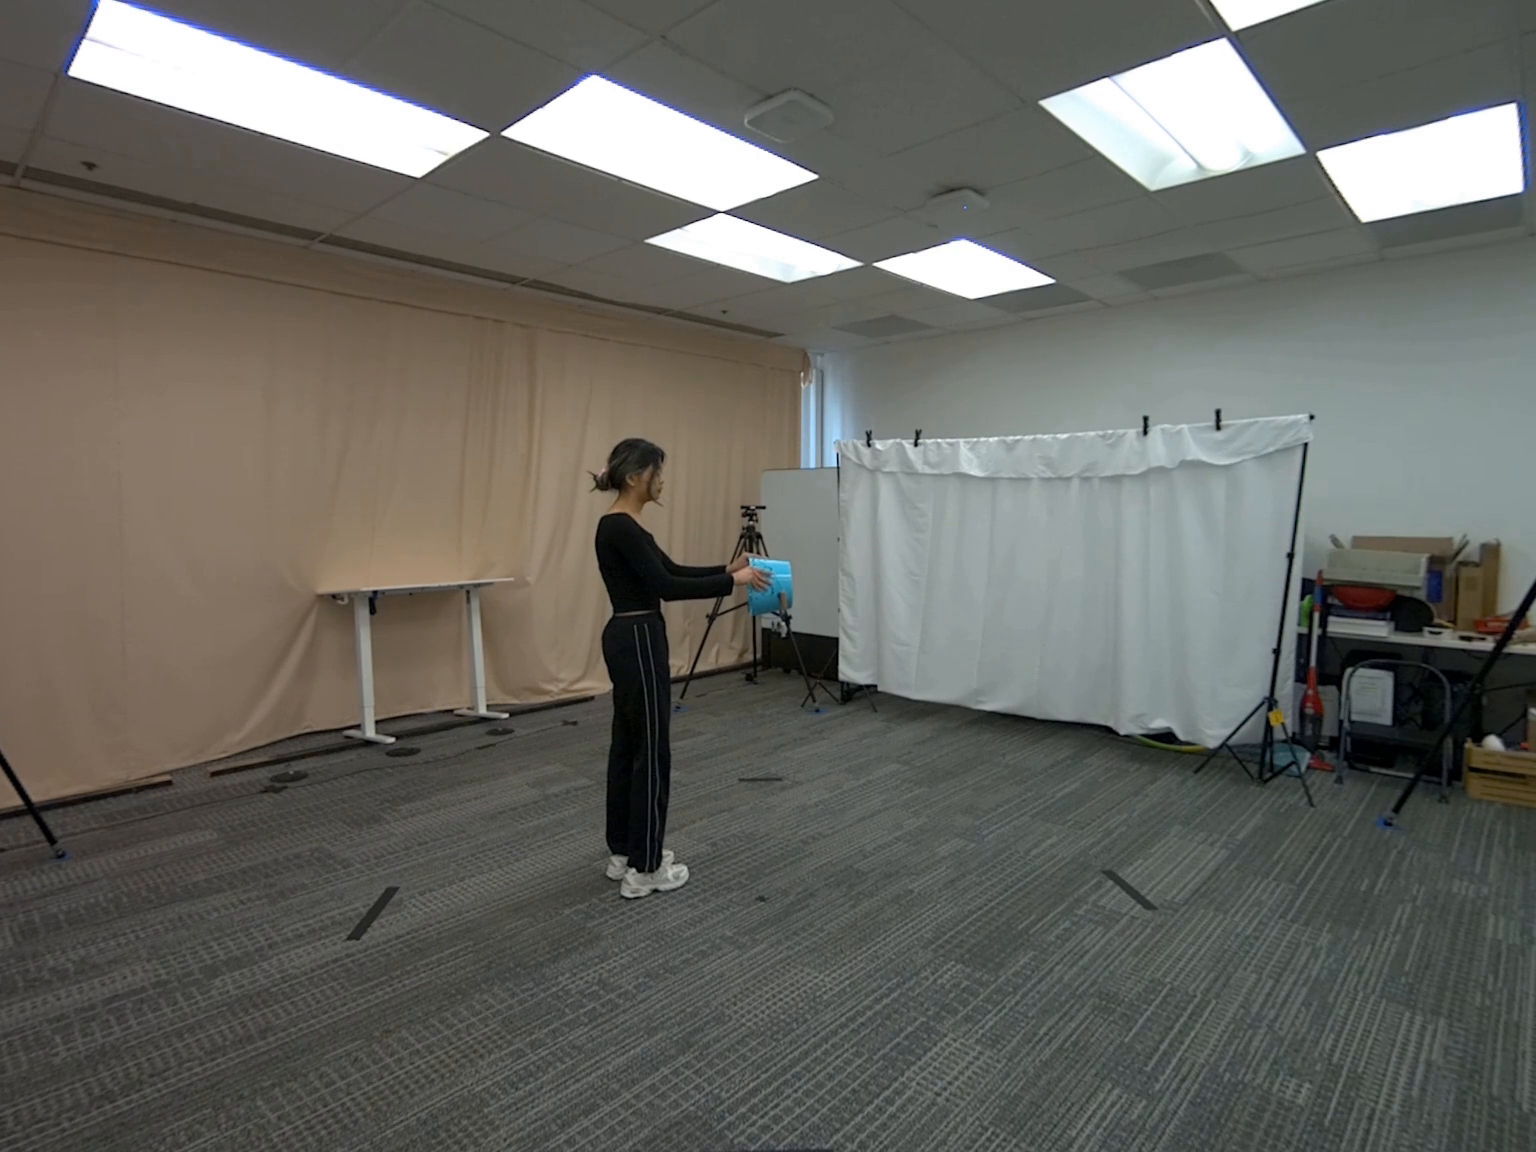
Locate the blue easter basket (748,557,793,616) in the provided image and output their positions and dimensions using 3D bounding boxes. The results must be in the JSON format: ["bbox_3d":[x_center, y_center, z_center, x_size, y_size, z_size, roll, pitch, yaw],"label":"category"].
[{"bbox_3d":[0.006,0.034,3.185,0.155,0.243,0.245,-4,4,-3],"label":"blue easter basket"}]
